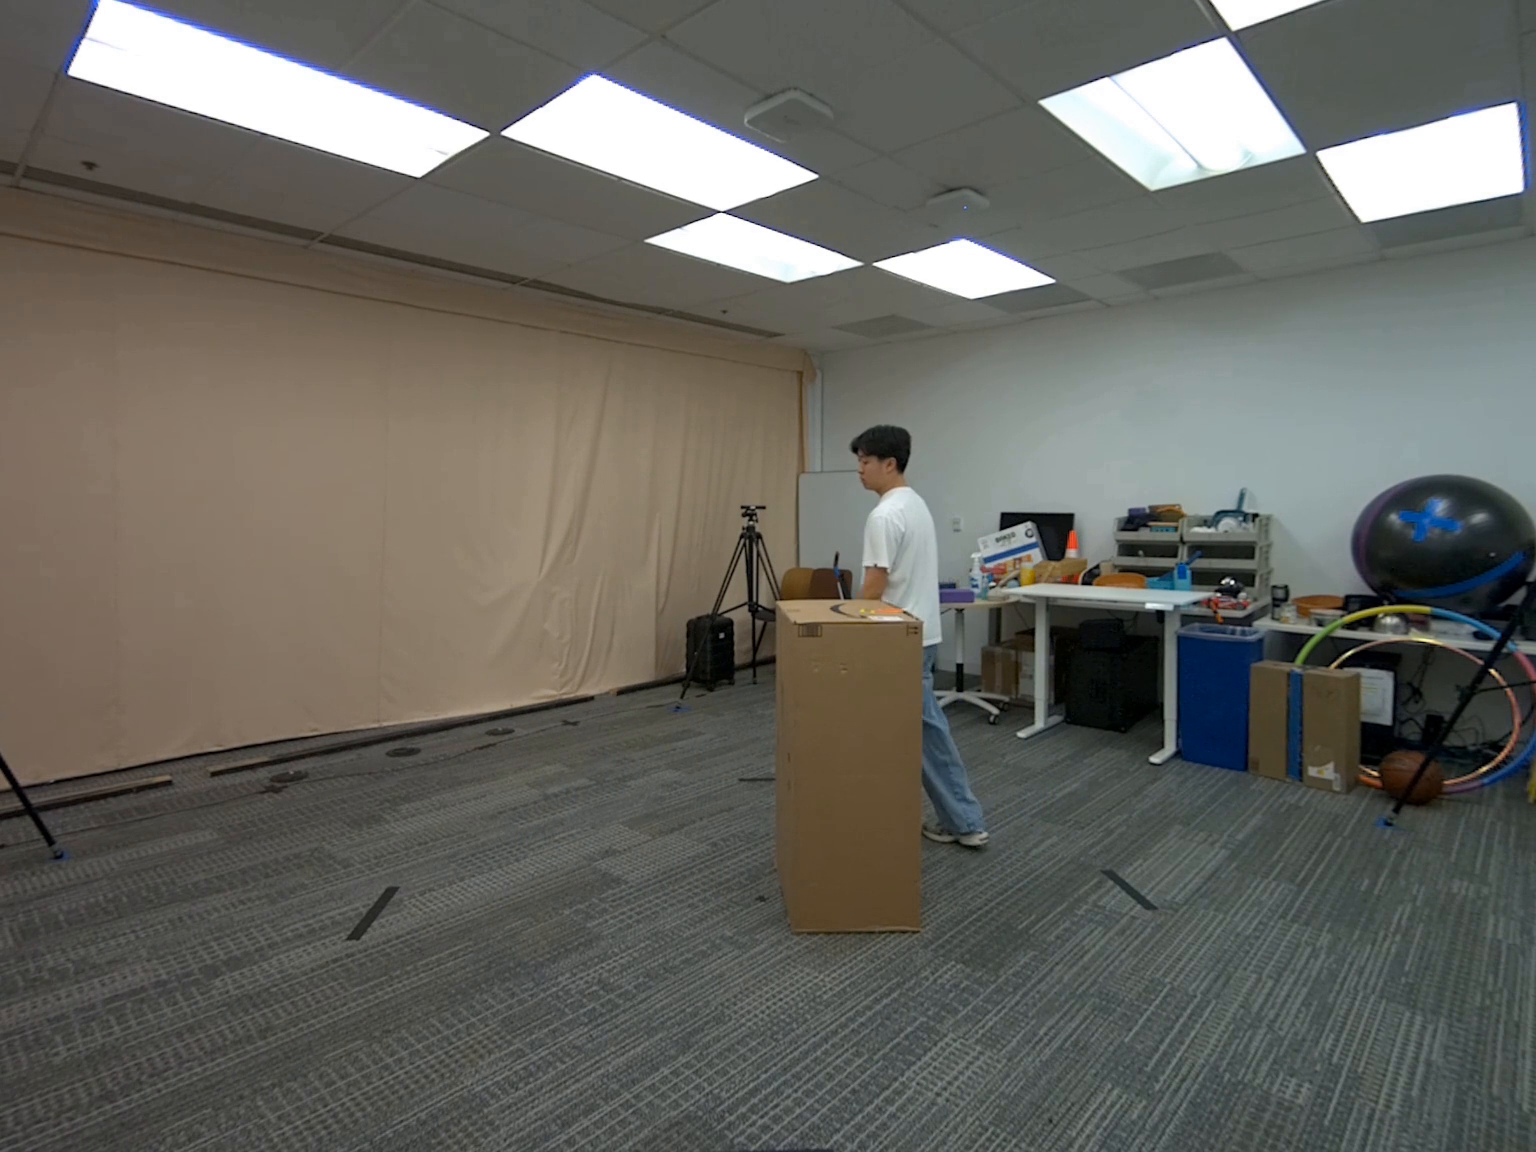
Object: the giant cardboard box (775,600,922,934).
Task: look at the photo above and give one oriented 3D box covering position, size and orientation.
[{"bbox_3d":[0.268,0.632,2.995,0.424,1.024,0.581,0,3,-5],"label":"giant cardboard box"}]
